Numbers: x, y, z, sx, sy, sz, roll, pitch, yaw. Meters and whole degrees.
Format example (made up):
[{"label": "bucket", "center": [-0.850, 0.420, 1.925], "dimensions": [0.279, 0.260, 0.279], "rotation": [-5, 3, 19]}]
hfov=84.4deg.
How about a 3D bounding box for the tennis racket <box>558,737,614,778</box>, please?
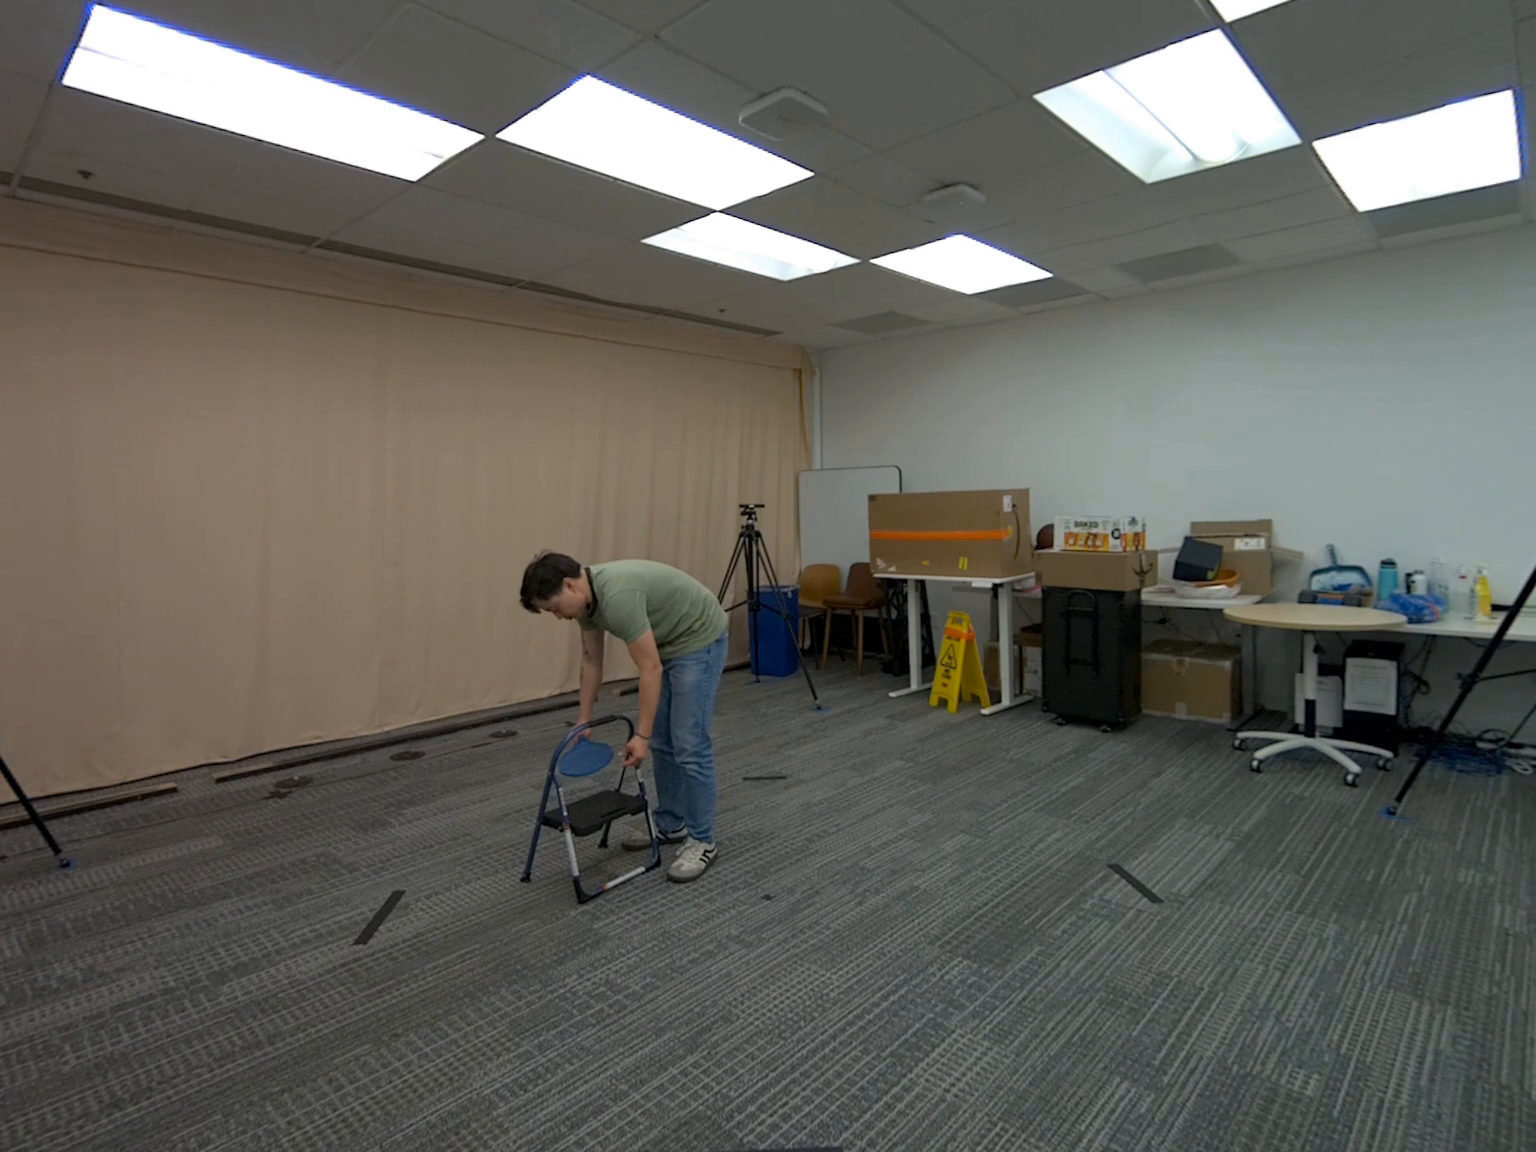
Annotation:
[{"label": "tennis racket", "center": [-0.699, 0.678, 3.269], "dimensions": [0.212, 0.031, 0.441], "rotation": [-15, 14, -10]}]
